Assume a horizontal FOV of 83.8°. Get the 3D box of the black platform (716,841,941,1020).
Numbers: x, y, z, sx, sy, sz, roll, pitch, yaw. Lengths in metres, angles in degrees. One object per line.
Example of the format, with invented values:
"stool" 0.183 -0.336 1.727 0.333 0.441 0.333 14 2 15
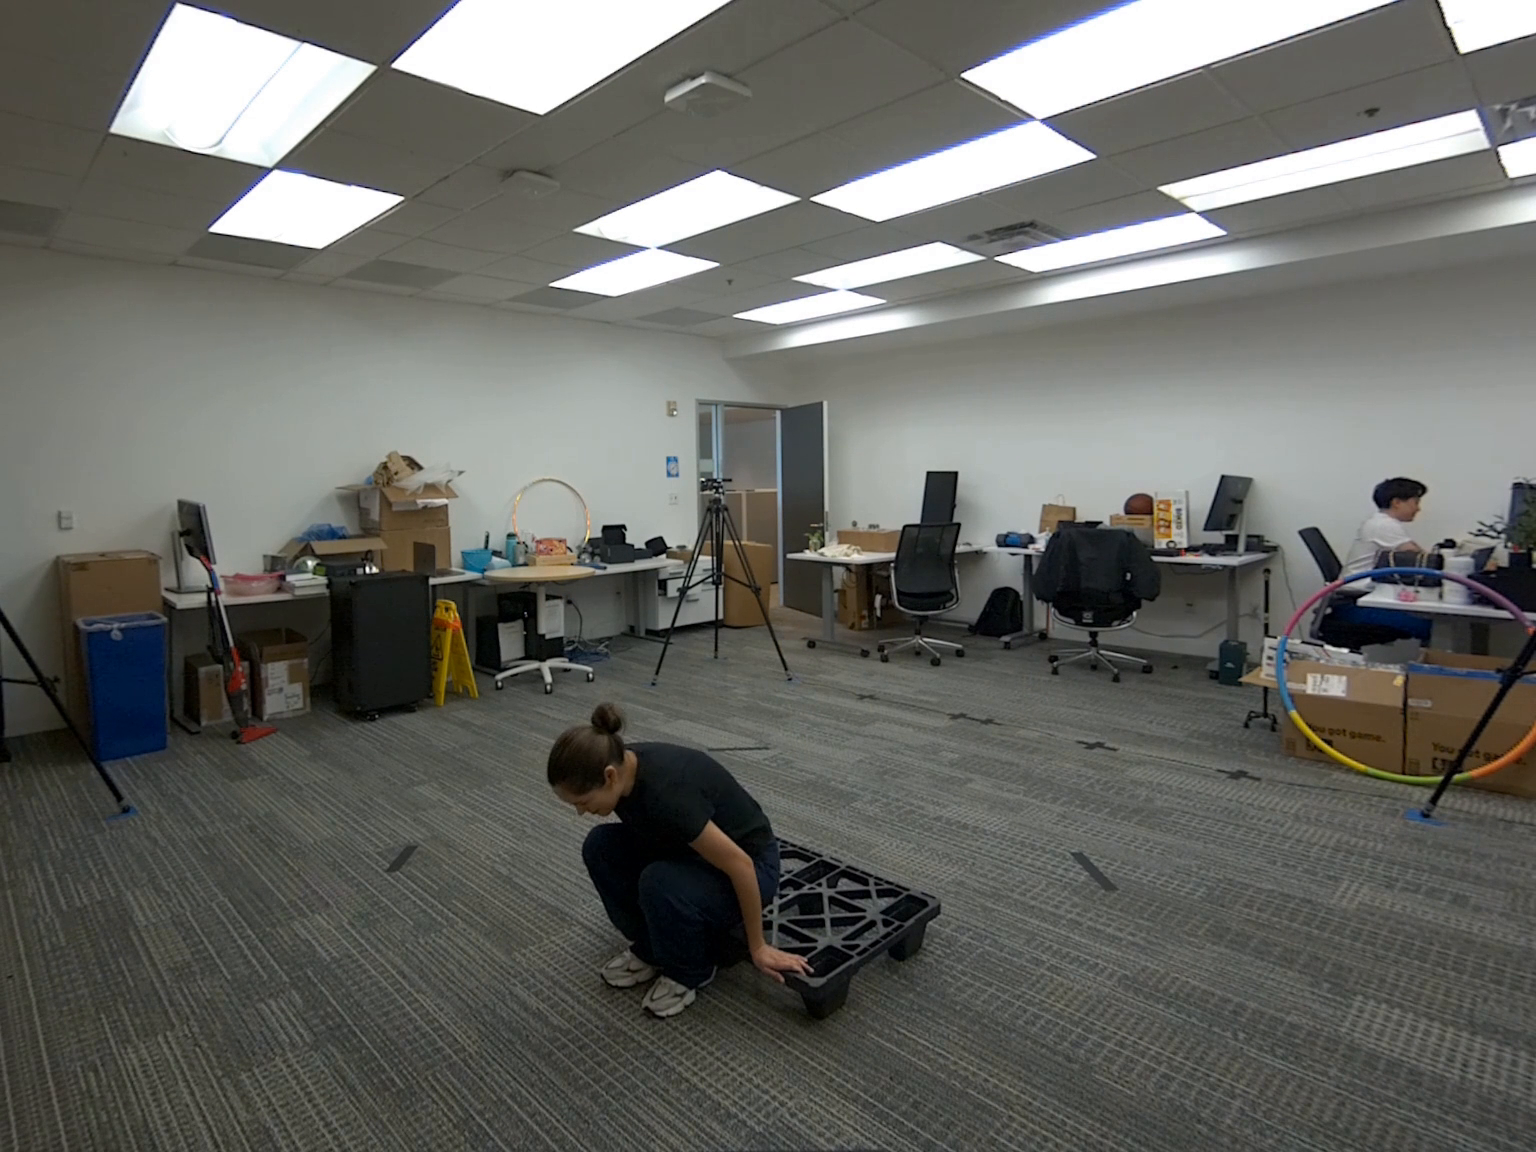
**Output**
"black platform" 0.031 1.030 2.643 0.831 0.142 0.589 6 9 43
